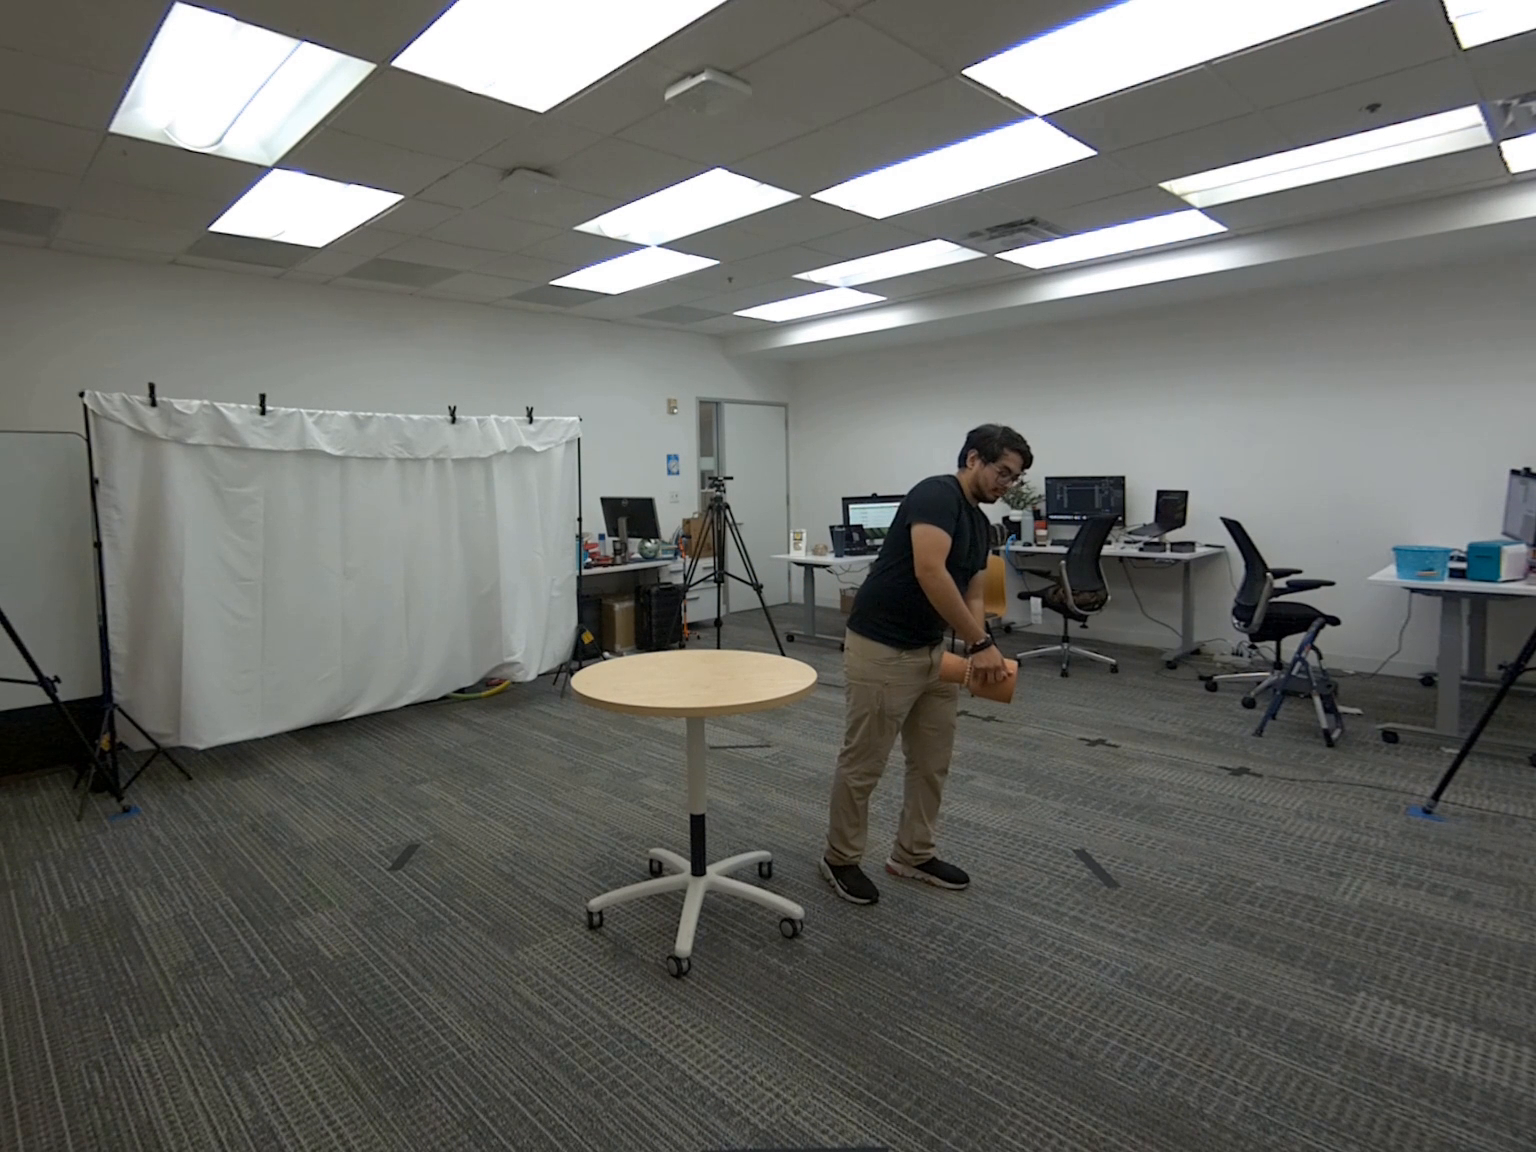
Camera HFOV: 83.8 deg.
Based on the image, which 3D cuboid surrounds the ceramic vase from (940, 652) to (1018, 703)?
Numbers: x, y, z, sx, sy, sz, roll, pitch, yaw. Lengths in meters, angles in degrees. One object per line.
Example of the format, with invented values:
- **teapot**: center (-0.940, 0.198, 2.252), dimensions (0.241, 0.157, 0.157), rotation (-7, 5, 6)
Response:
- **ceramic vase**: center (0.663, 0.309, 2.645), dimensions (0.224, 0.155, 0.135), rotation (12, 32, 16)
